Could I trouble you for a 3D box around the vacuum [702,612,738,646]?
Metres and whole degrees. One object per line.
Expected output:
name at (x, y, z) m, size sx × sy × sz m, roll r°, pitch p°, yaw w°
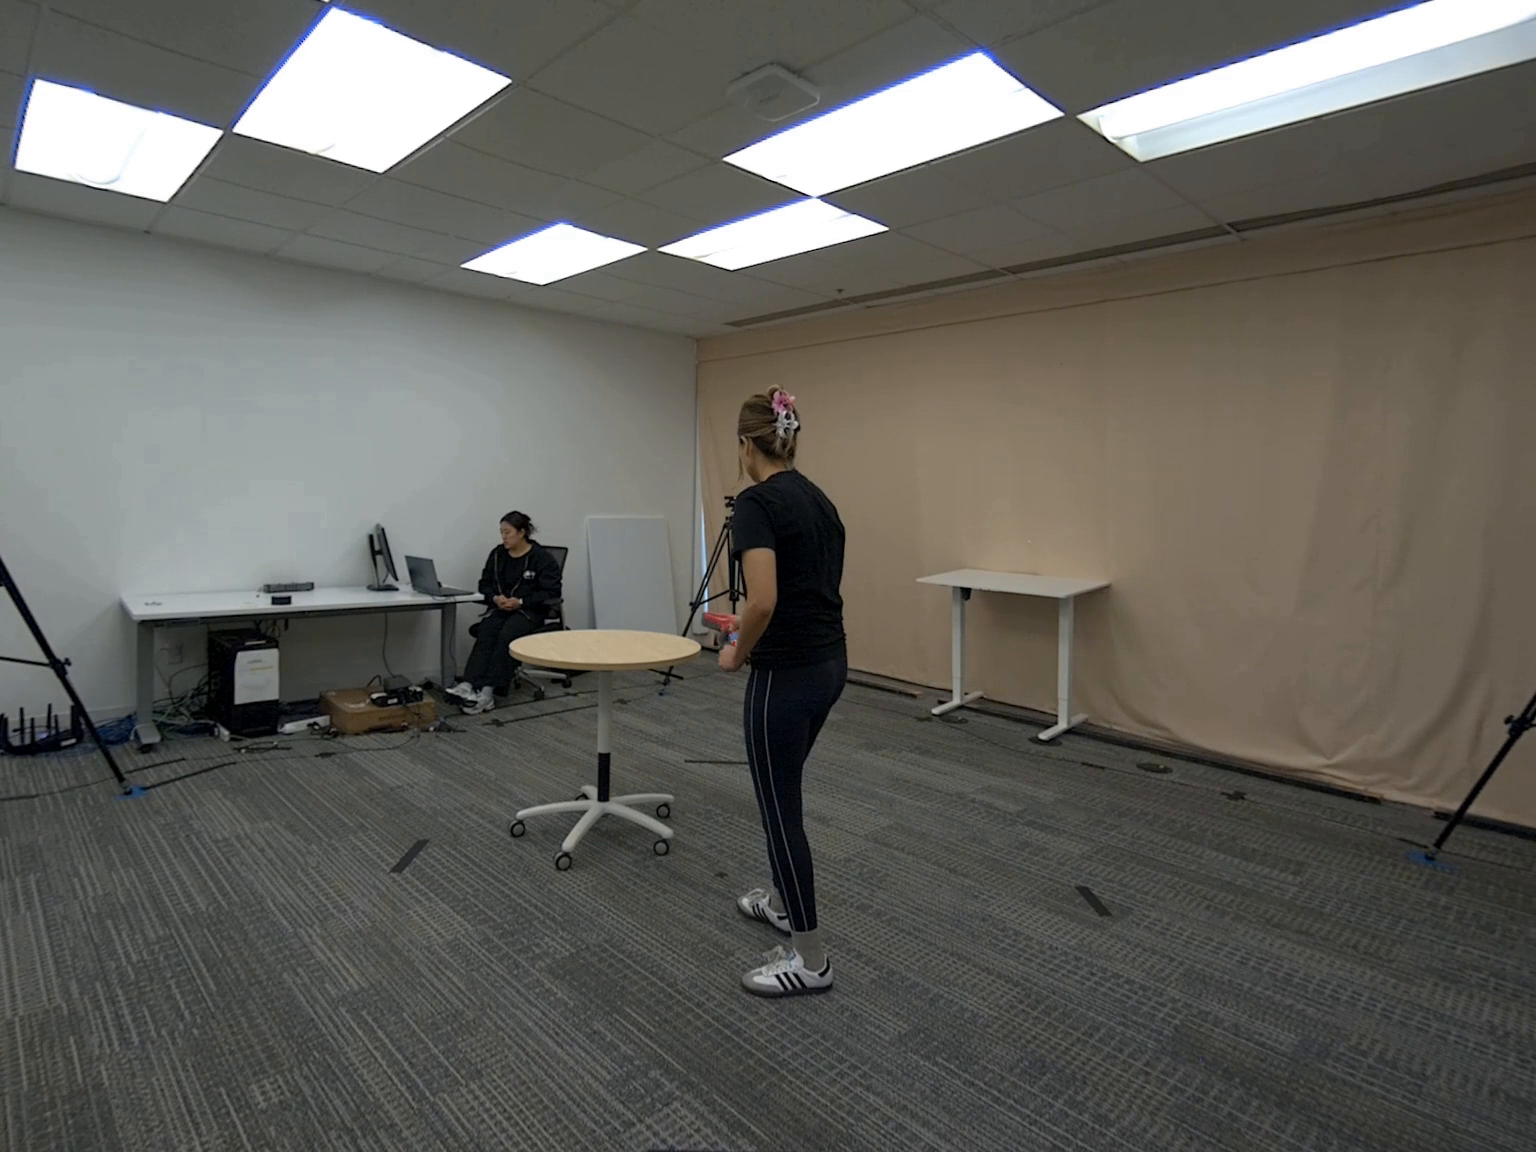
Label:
vacuum at (-0.135, 0.240, 2.941) m, size 0.253 × 0.144 × 1.048 m, roll 5°, pitch 0°, yaw -1°
